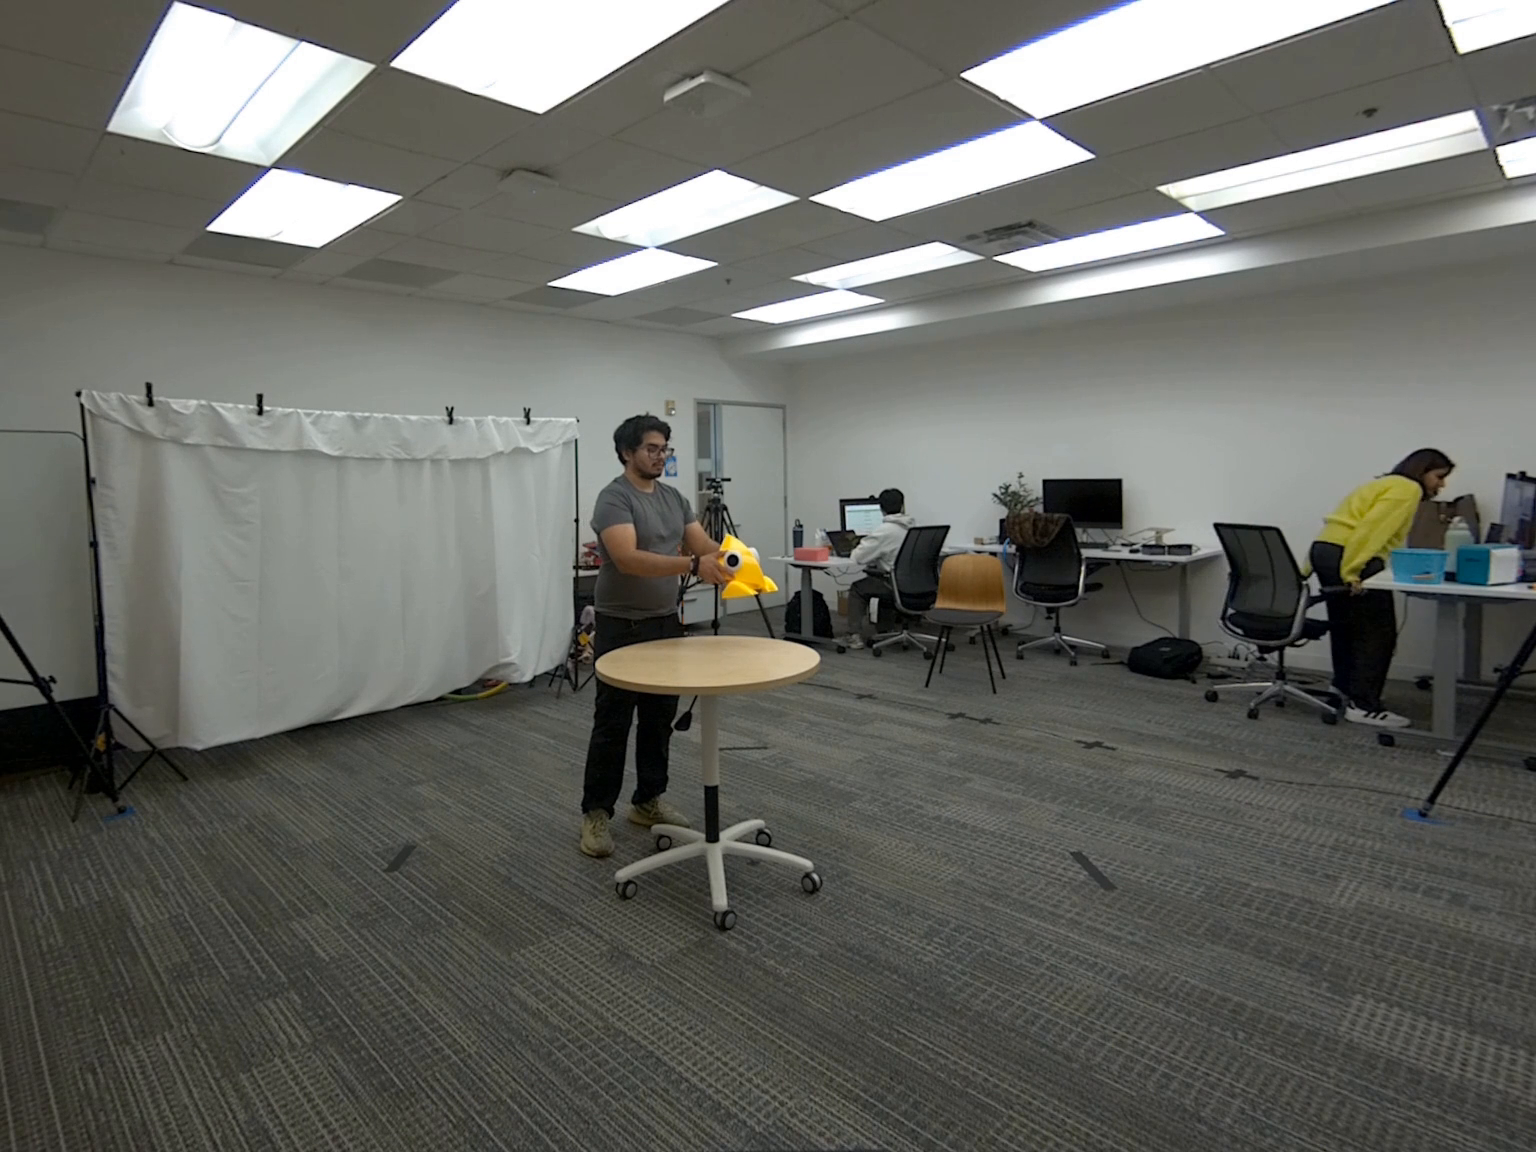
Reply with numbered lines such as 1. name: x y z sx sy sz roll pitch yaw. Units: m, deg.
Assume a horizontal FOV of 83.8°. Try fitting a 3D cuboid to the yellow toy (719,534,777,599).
1. yellow toy: -0.084 -0.044 3.109 0.198 0.231 0.199 -8 -1 44
